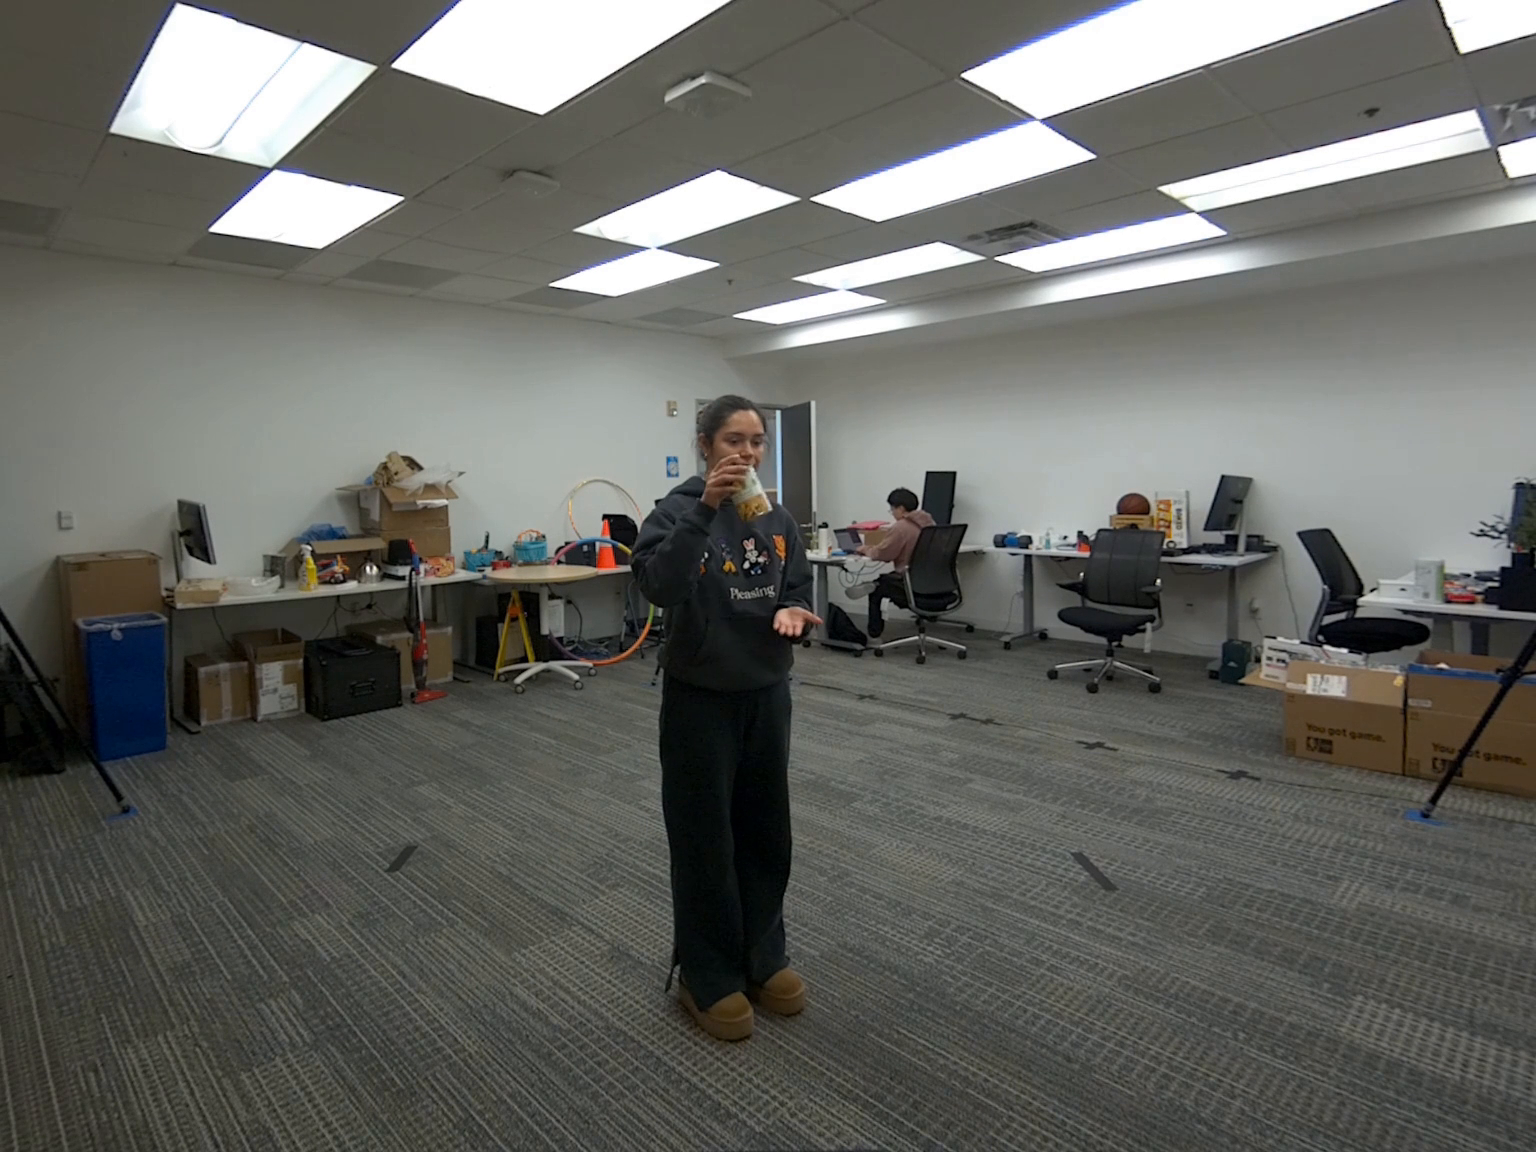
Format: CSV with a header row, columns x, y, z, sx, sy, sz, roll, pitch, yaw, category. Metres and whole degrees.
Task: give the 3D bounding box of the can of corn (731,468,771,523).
x,y,z,sx,sy,sz,roll,pitch,yaw,category
-0.049,-0.172,1.897,0.074,0.111,0.074,-23,1,-1,can of corn
